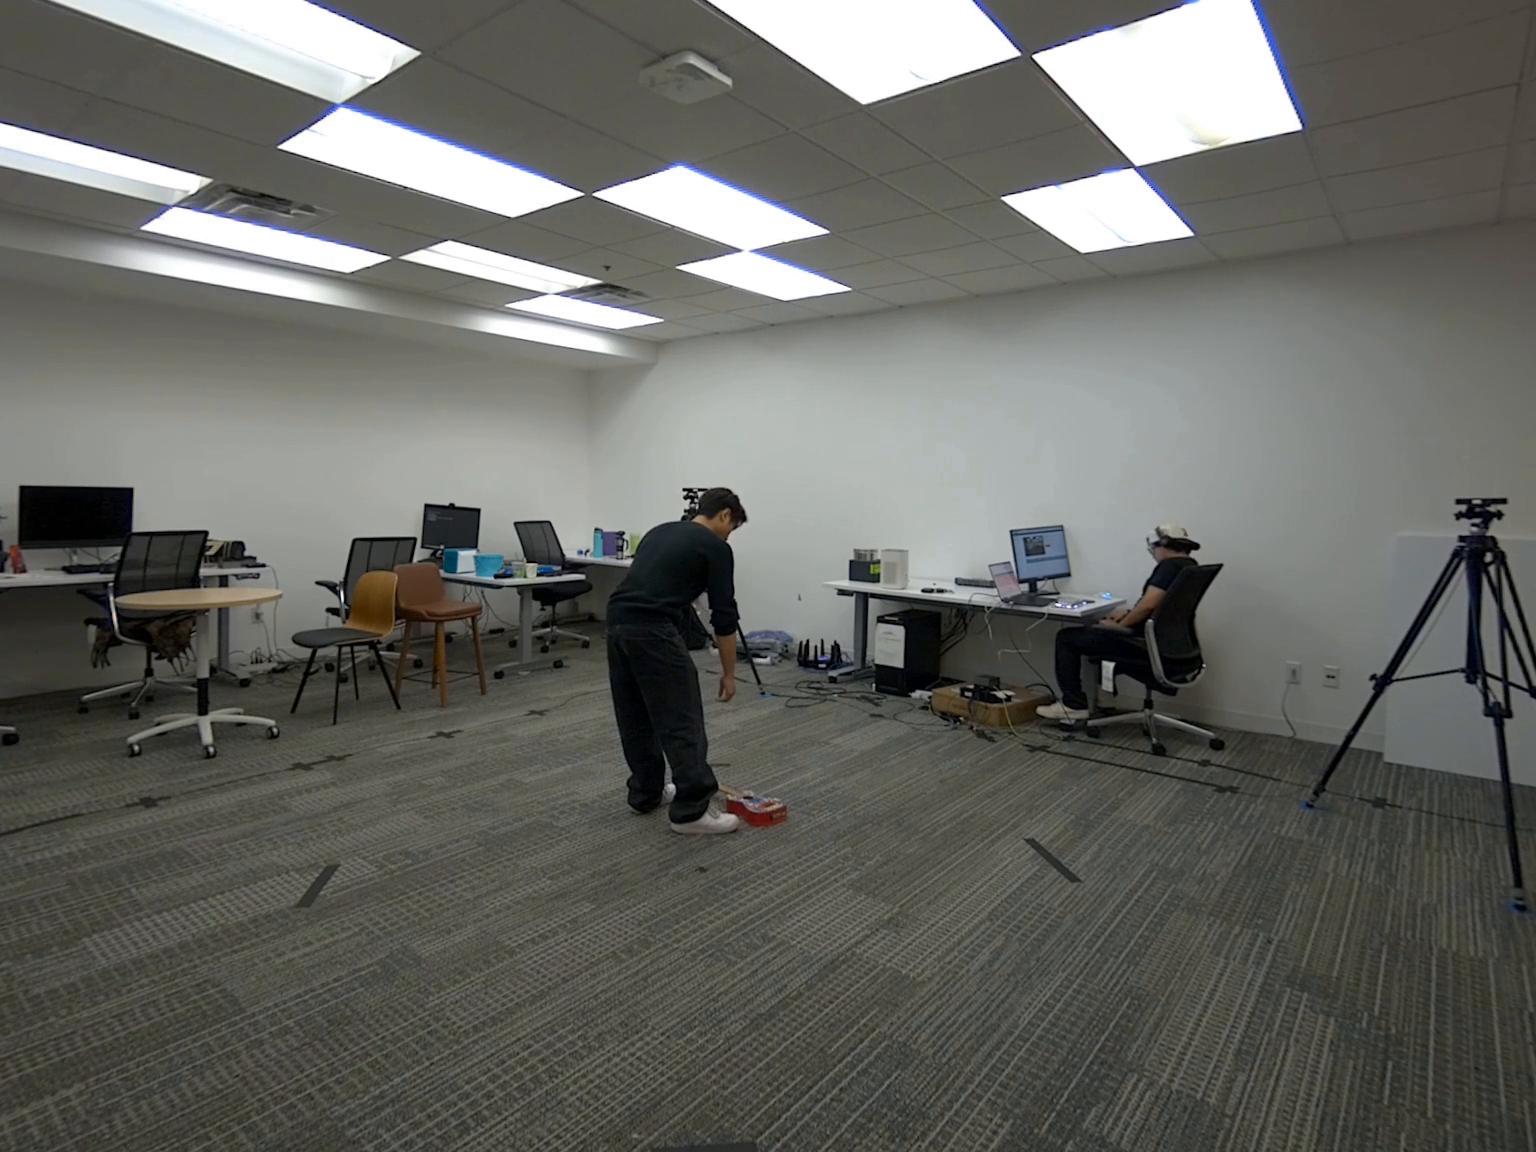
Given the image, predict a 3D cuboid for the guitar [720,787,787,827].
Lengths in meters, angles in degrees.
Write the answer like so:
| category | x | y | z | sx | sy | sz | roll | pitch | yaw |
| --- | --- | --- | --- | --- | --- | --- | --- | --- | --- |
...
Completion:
| category | x | y | z | sx | sy | sz | roll | pitch | yaw |
| --- | --- | --- | --- | --- | --- | --- | --- | --- | --- |
| guitar | -0.130 | 0.979 | 3.752 | 0.187 | 0.070 | 0.515 | -3 | 7 | -37 |
